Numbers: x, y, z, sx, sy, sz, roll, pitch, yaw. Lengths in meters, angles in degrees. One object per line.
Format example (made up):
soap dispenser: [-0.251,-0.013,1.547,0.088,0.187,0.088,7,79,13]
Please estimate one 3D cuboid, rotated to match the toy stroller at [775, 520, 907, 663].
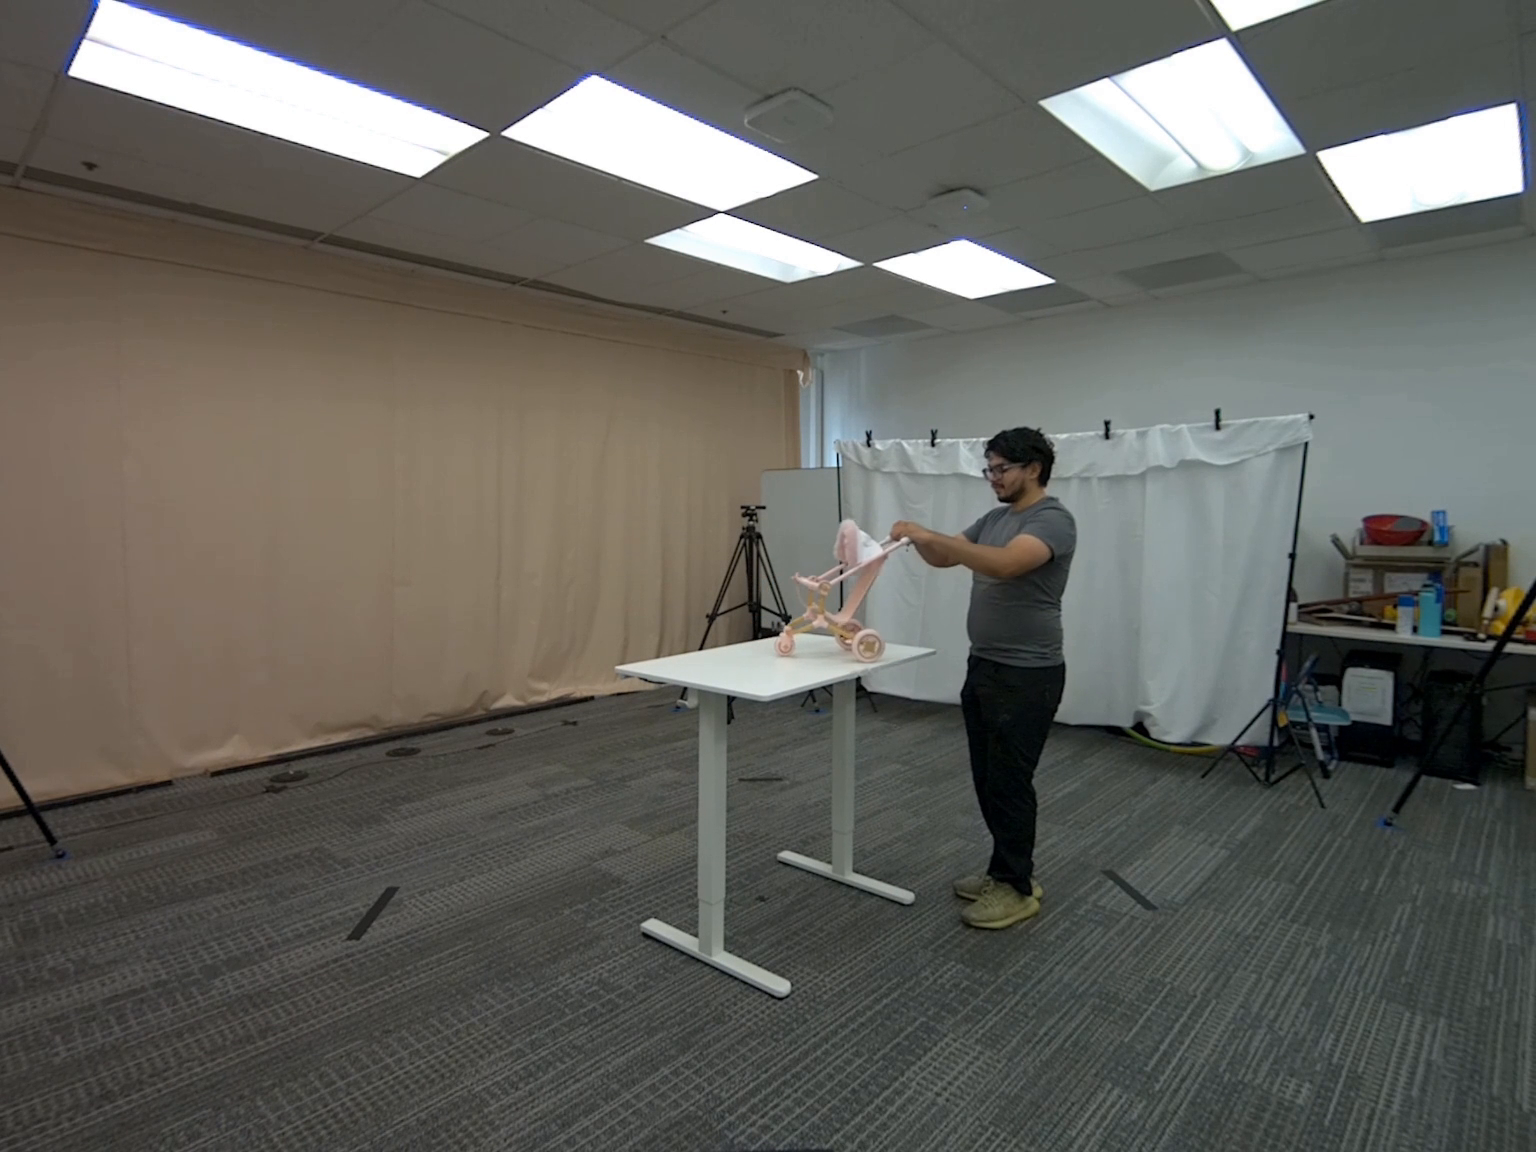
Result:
toy stroller: [0.249,0.051,2.849,0.341,0.534,0.282,16,2,-3]
